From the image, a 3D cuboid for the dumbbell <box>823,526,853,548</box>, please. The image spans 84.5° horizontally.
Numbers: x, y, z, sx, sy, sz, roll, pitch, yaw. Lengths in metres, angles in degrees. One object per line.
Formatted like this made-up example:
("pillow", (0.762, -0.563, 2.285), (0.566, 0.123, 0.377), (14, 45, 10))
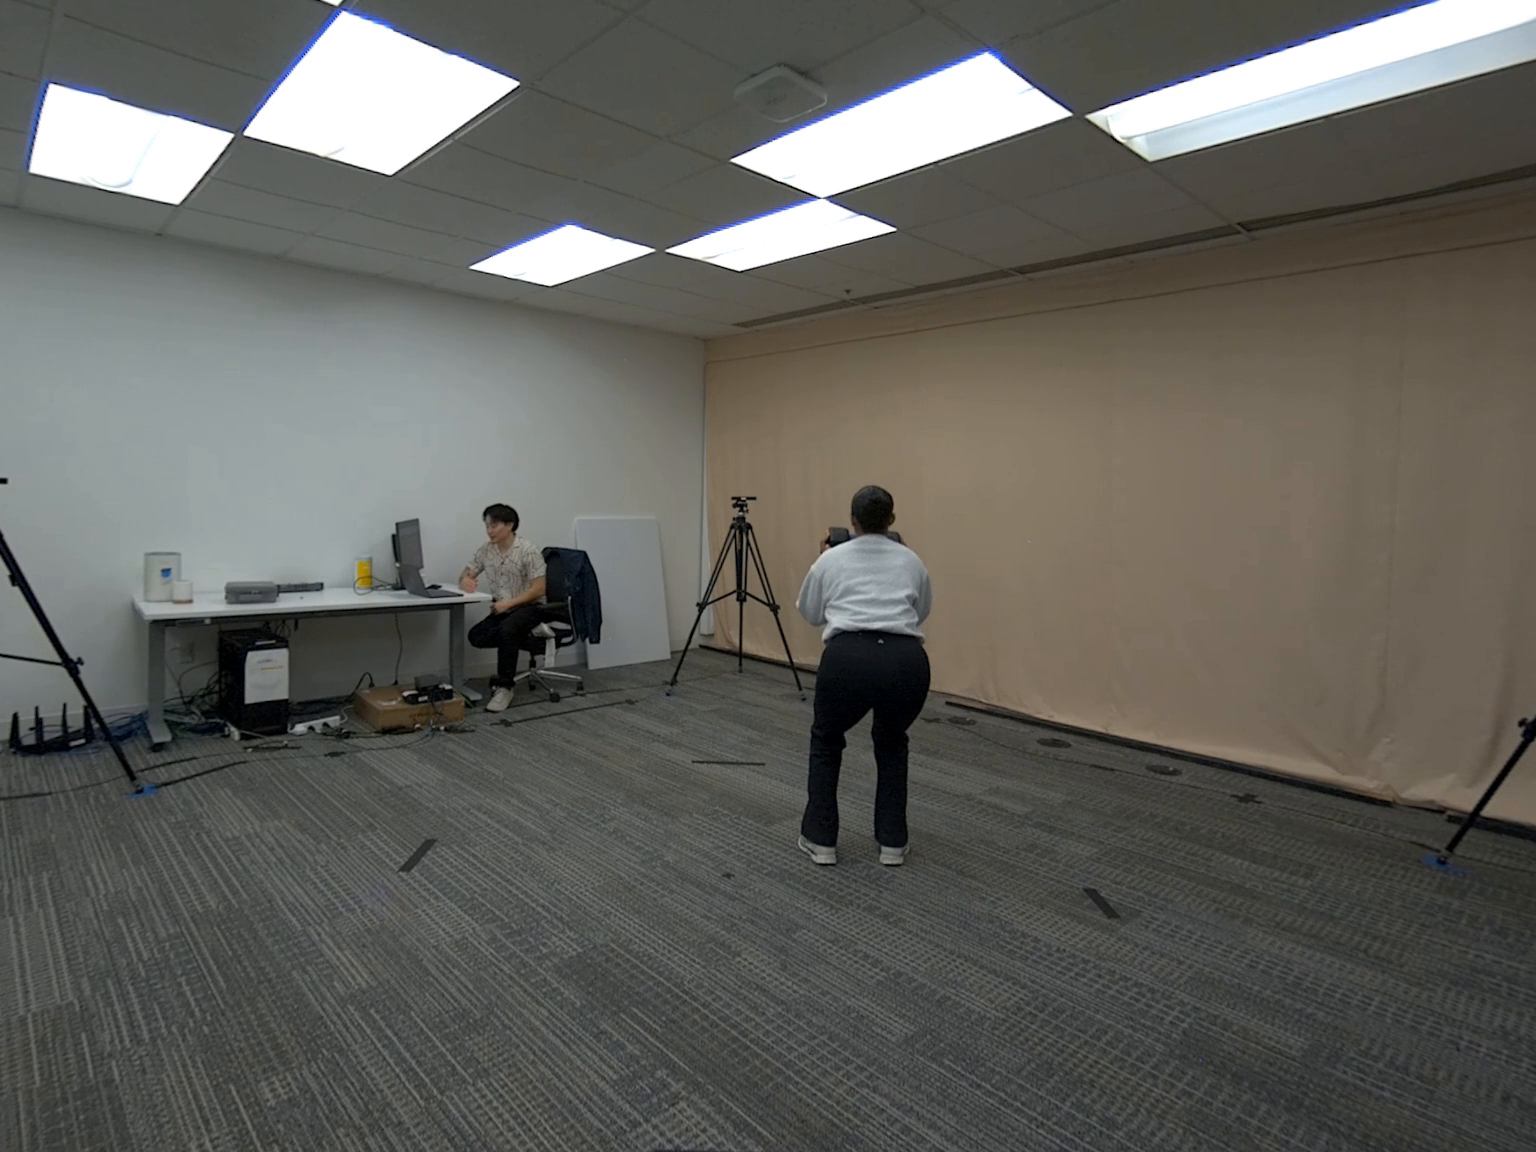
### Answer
("dumbbell", (0.394, -0.133, 3.479), (0.293, 0.121, 0.111), (5, 36, -2))
